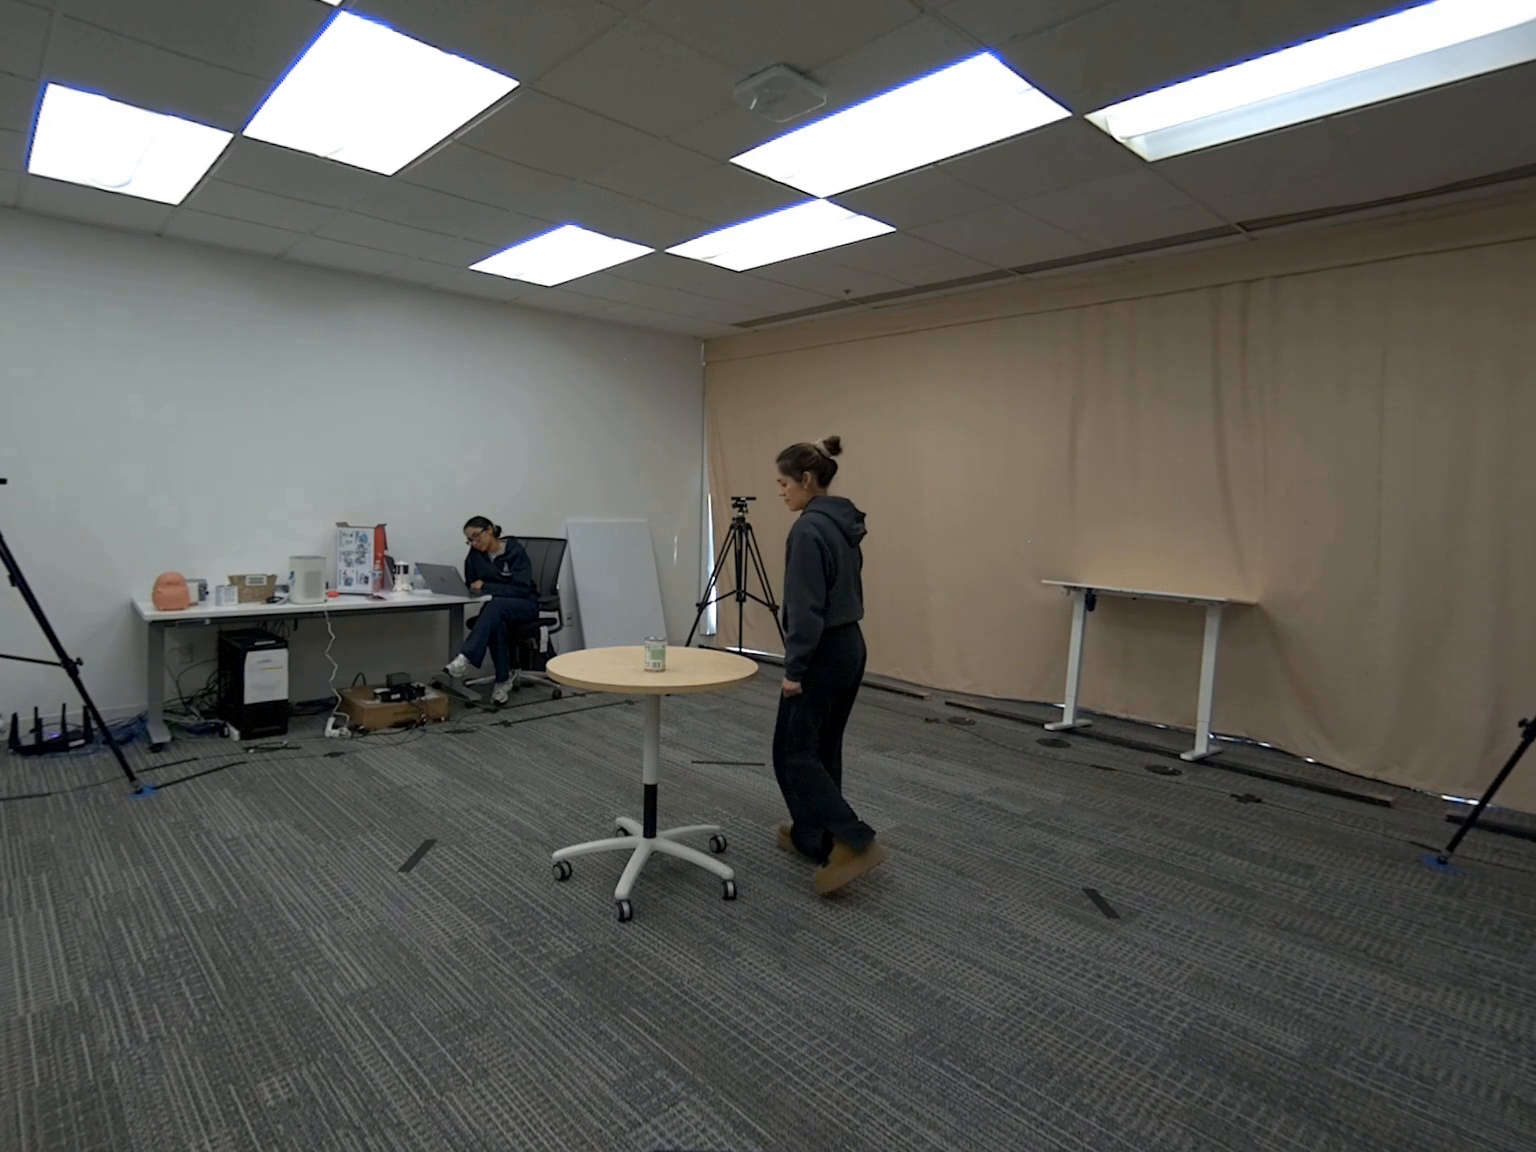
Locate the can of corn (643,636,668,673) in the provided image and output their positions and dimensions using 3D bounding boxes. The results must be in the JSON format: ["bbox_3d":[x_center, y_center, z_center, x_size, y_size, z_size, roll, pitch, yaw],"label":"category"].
[{"bbox_3d":[-0.399,0.275,2.951,0.074,0.111,0.074,0,0,-1],"label":"can of corn"}]
